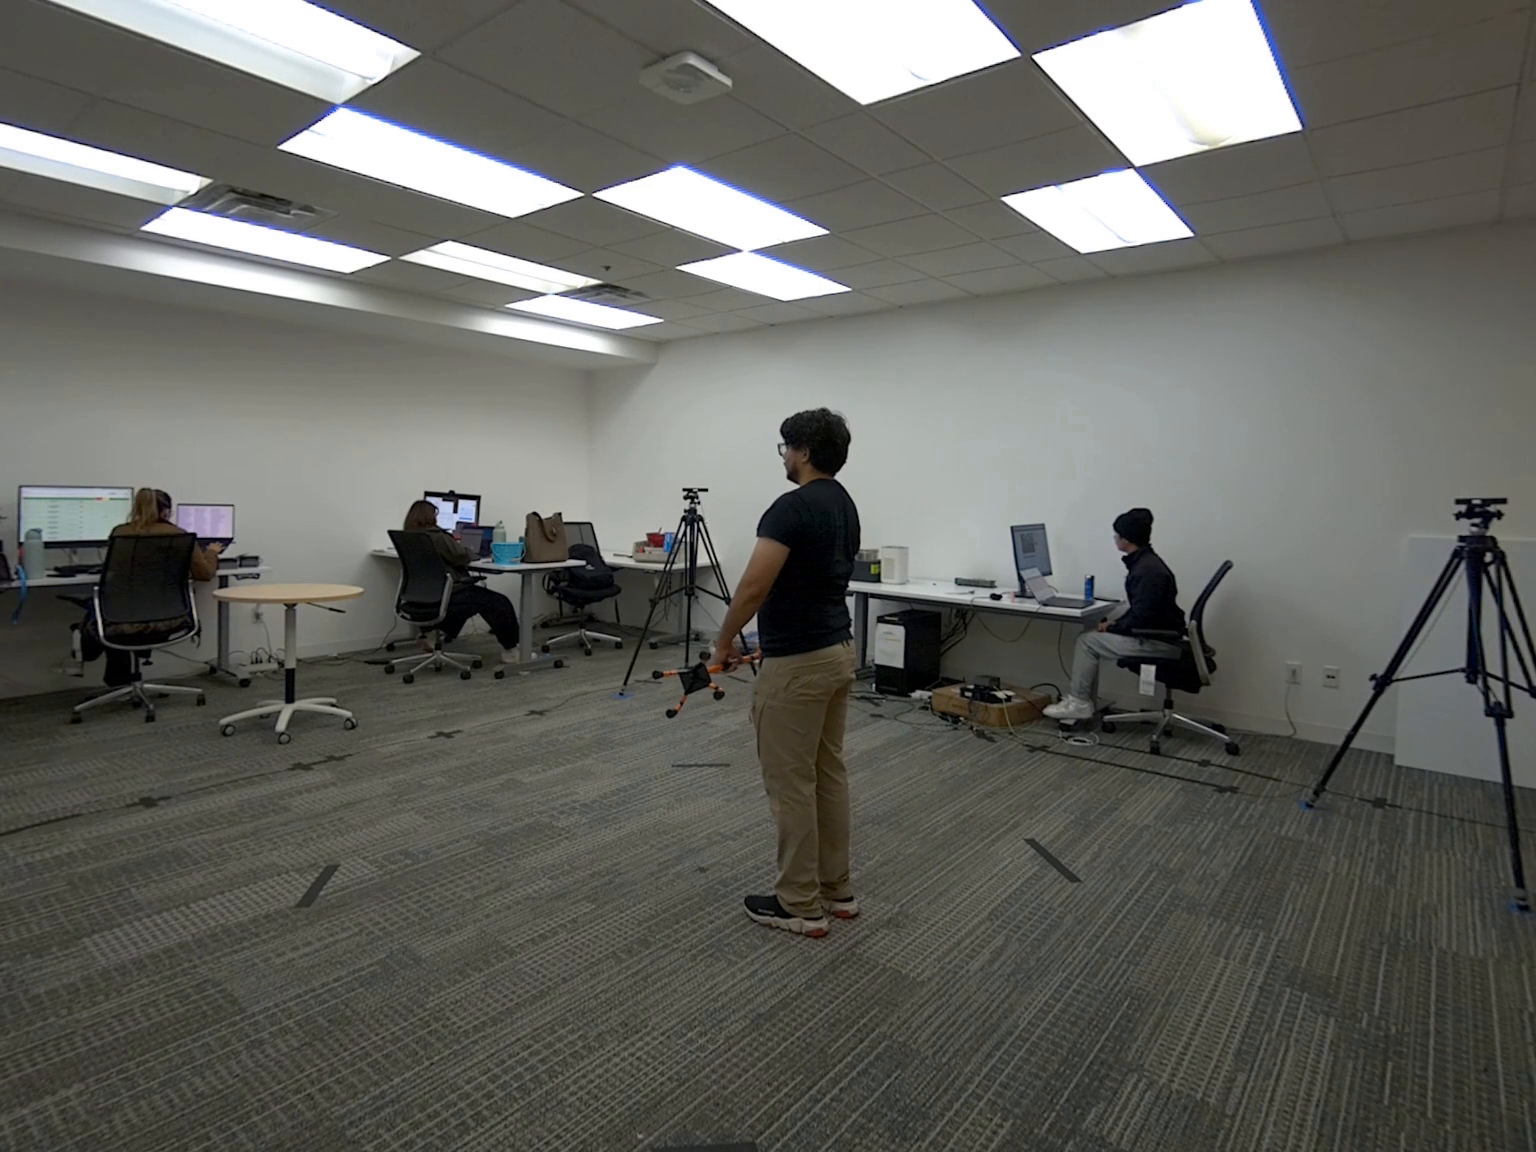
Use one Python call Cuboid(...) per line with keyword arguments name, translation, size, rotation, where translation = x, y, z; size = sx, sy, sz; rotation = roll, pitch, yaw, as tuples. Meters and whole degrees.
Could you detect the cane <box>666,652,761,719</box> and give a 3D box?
Cuboid(name="cane", translation=(-0.075, 0.297, 2.943), size=(0.209, 0.153, 0.886), rotation=(-24, -7, 26))
